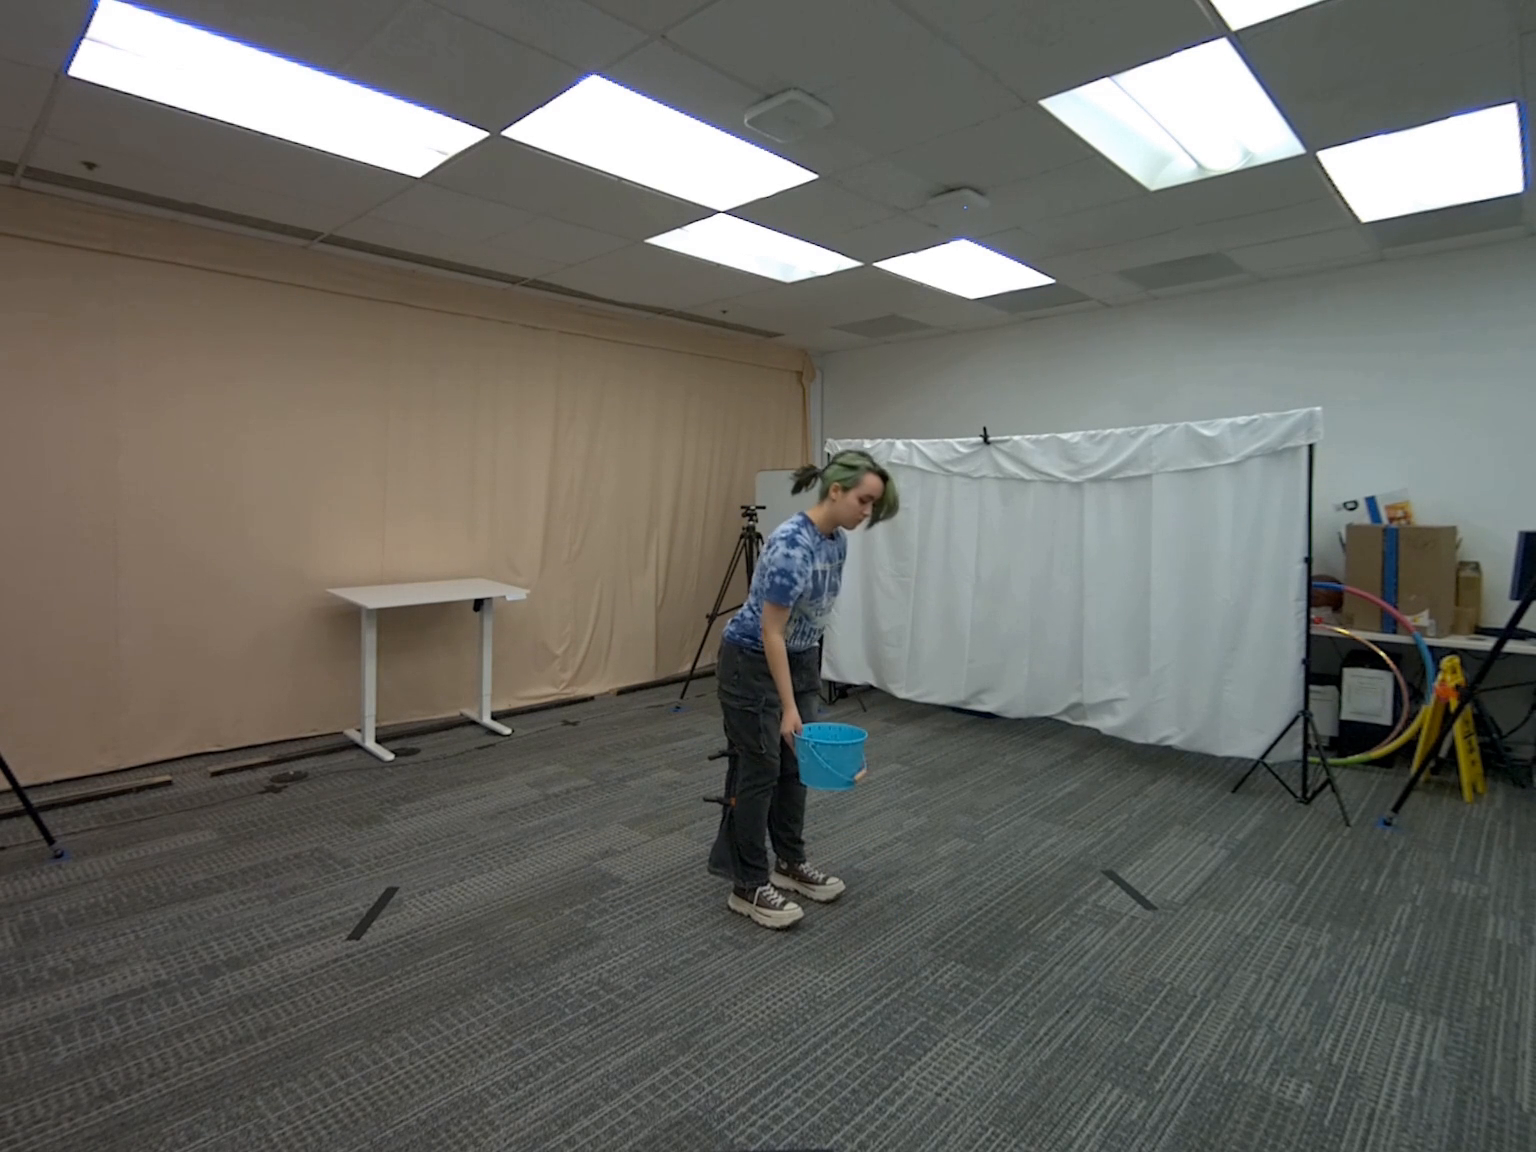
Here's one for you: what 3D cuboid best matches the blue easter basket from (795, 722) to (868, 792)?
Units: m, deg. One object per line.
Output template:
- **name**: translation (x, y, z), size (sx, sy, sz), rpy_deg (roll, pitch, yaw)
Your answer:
- **blue easter basket**: translation (0.203, 0.575, 2.610), size (0.243, 0.155, 0.244), rpy_deg (-1, 4, -2)
